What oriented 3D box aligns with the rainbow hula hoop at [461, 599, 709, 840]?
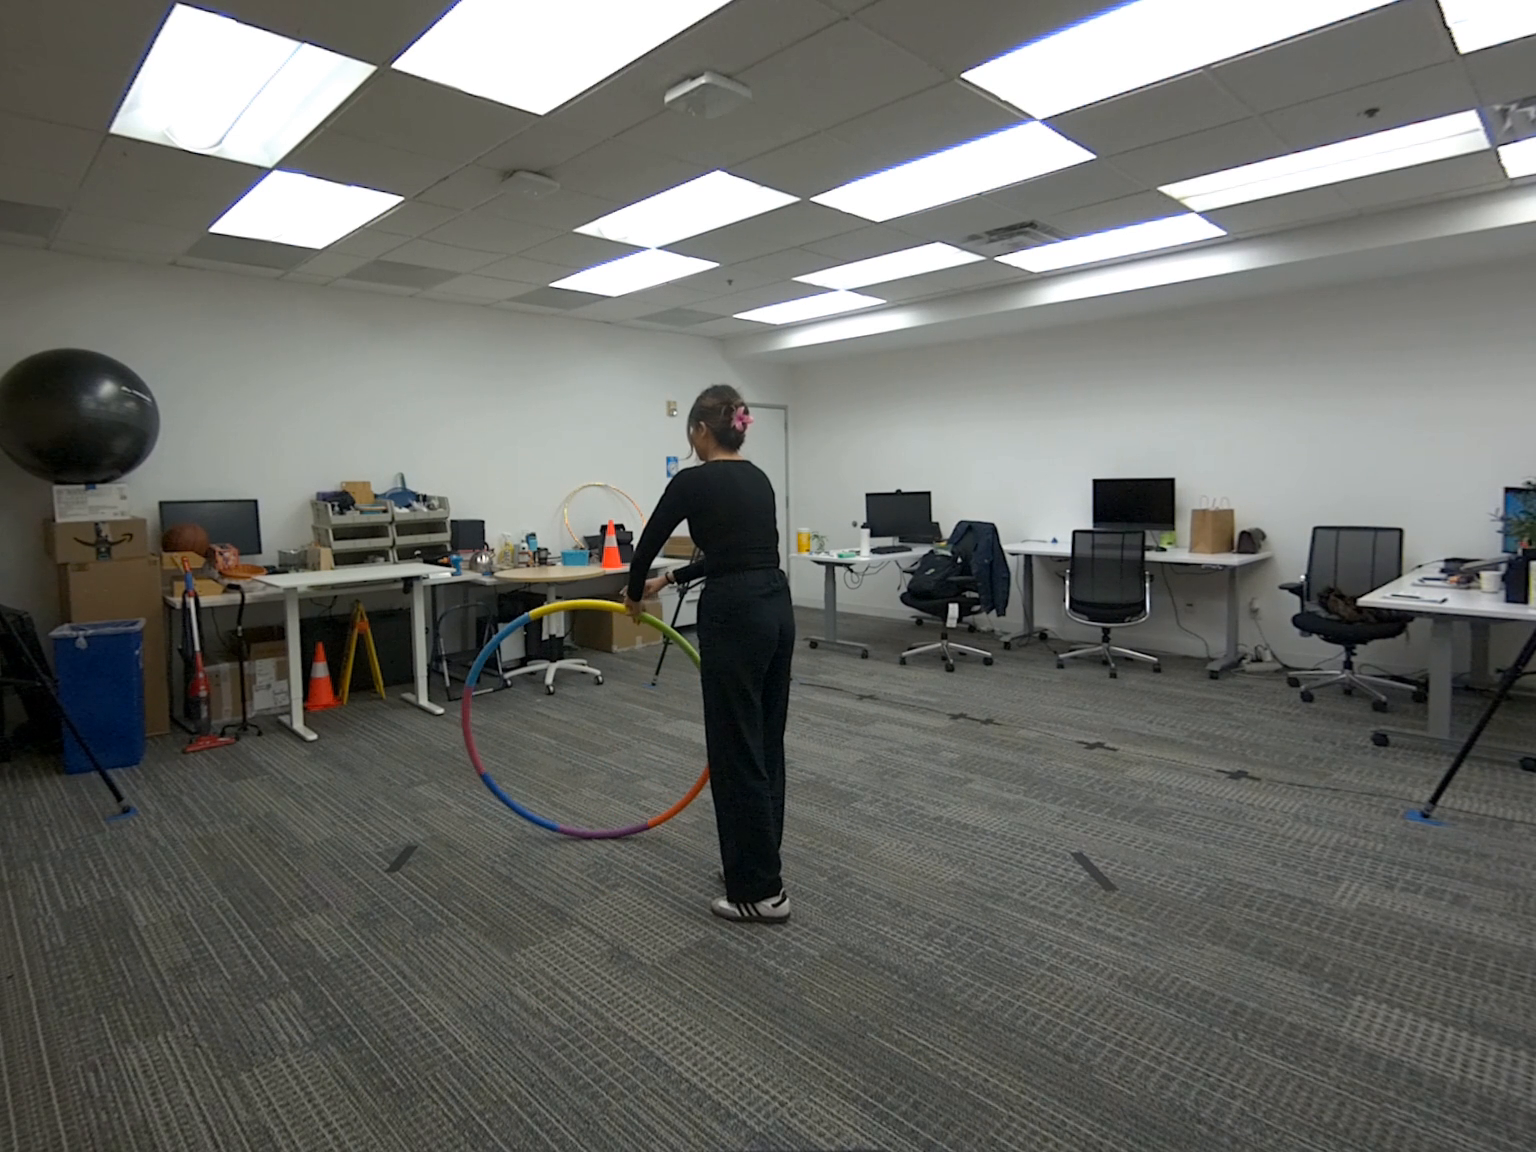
[{"bbox_3d":[-0.660,0.558,3.241,0.981,0.964,0.036,0,16,3],"label":"rainbow hula hoop"}]
